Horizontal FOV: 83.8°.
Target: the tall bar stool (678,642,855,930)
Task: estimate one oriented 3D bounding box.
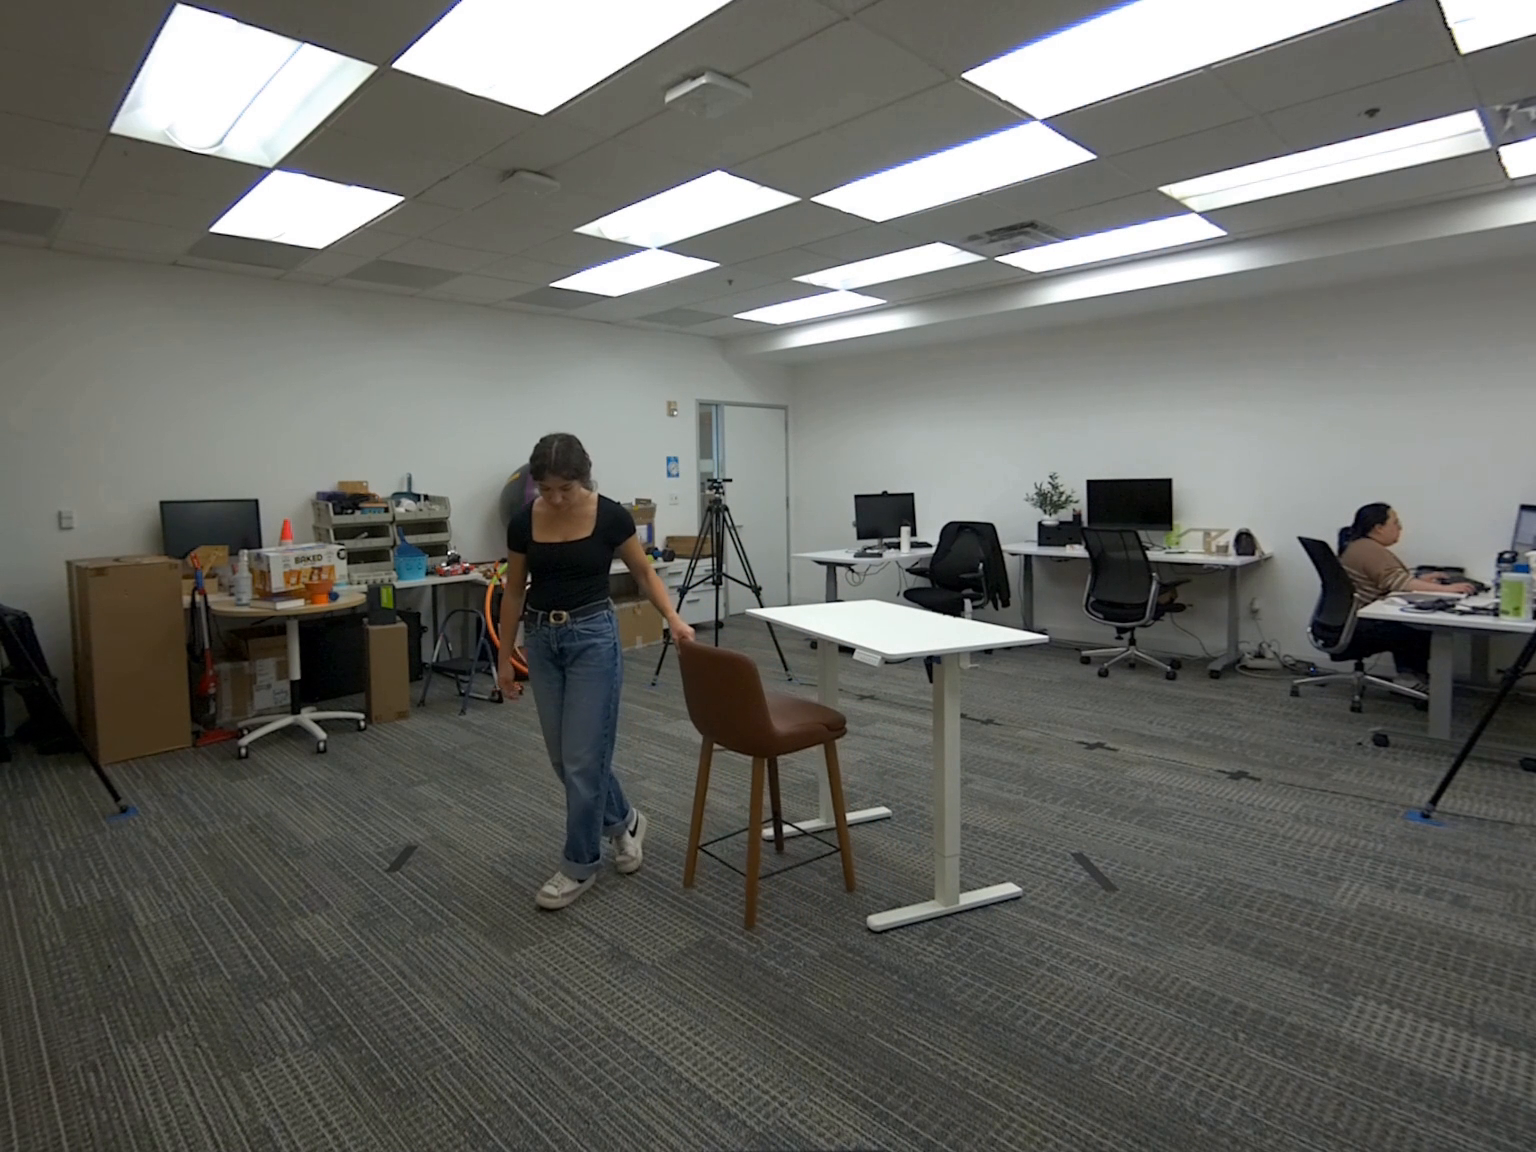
[{"bbox_3d":[-0.015,0.631,2.882,0.456,0.884,0.470,-7,8,-37],"label":"tall bar stool"}]
